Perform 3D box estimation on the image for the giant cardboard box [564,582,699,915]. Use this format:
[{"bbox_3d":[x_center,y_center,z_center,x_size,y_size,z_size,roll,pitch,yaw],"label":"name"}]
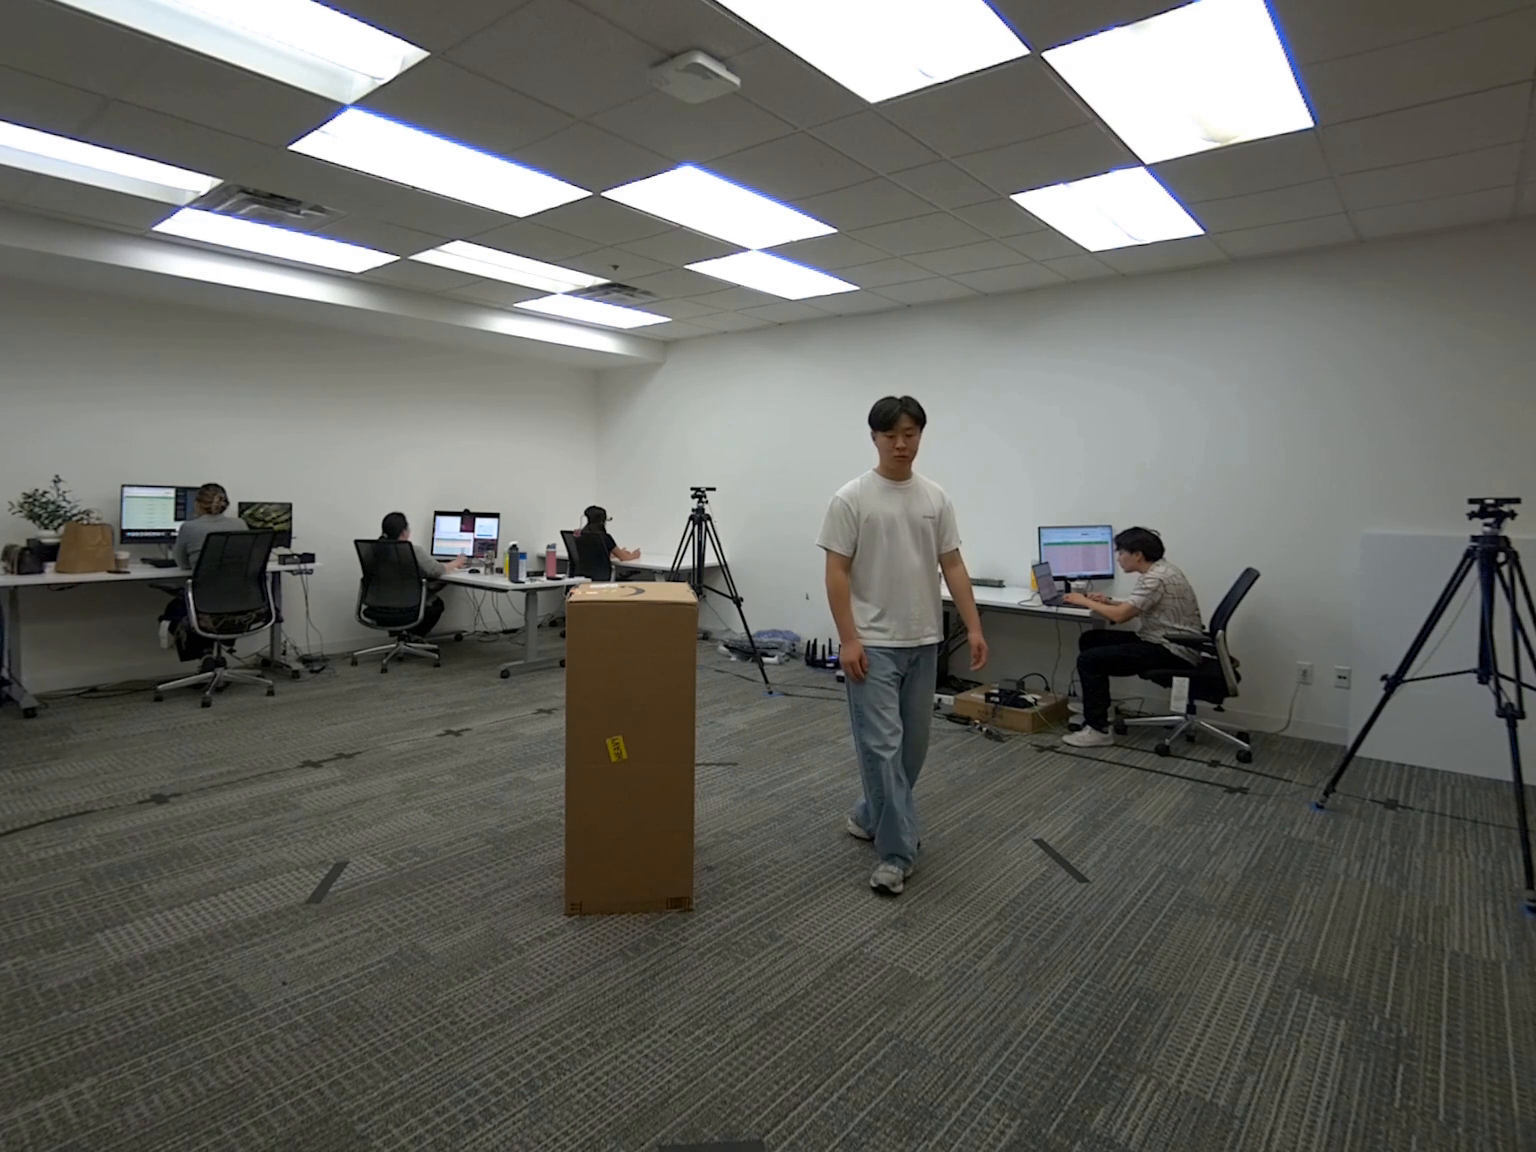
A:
[{"bbox_3d":[-0.496,0.560,3.026,0.423,1.023,0.584,0,3,-8],"label":"giant cardboard box"}]
